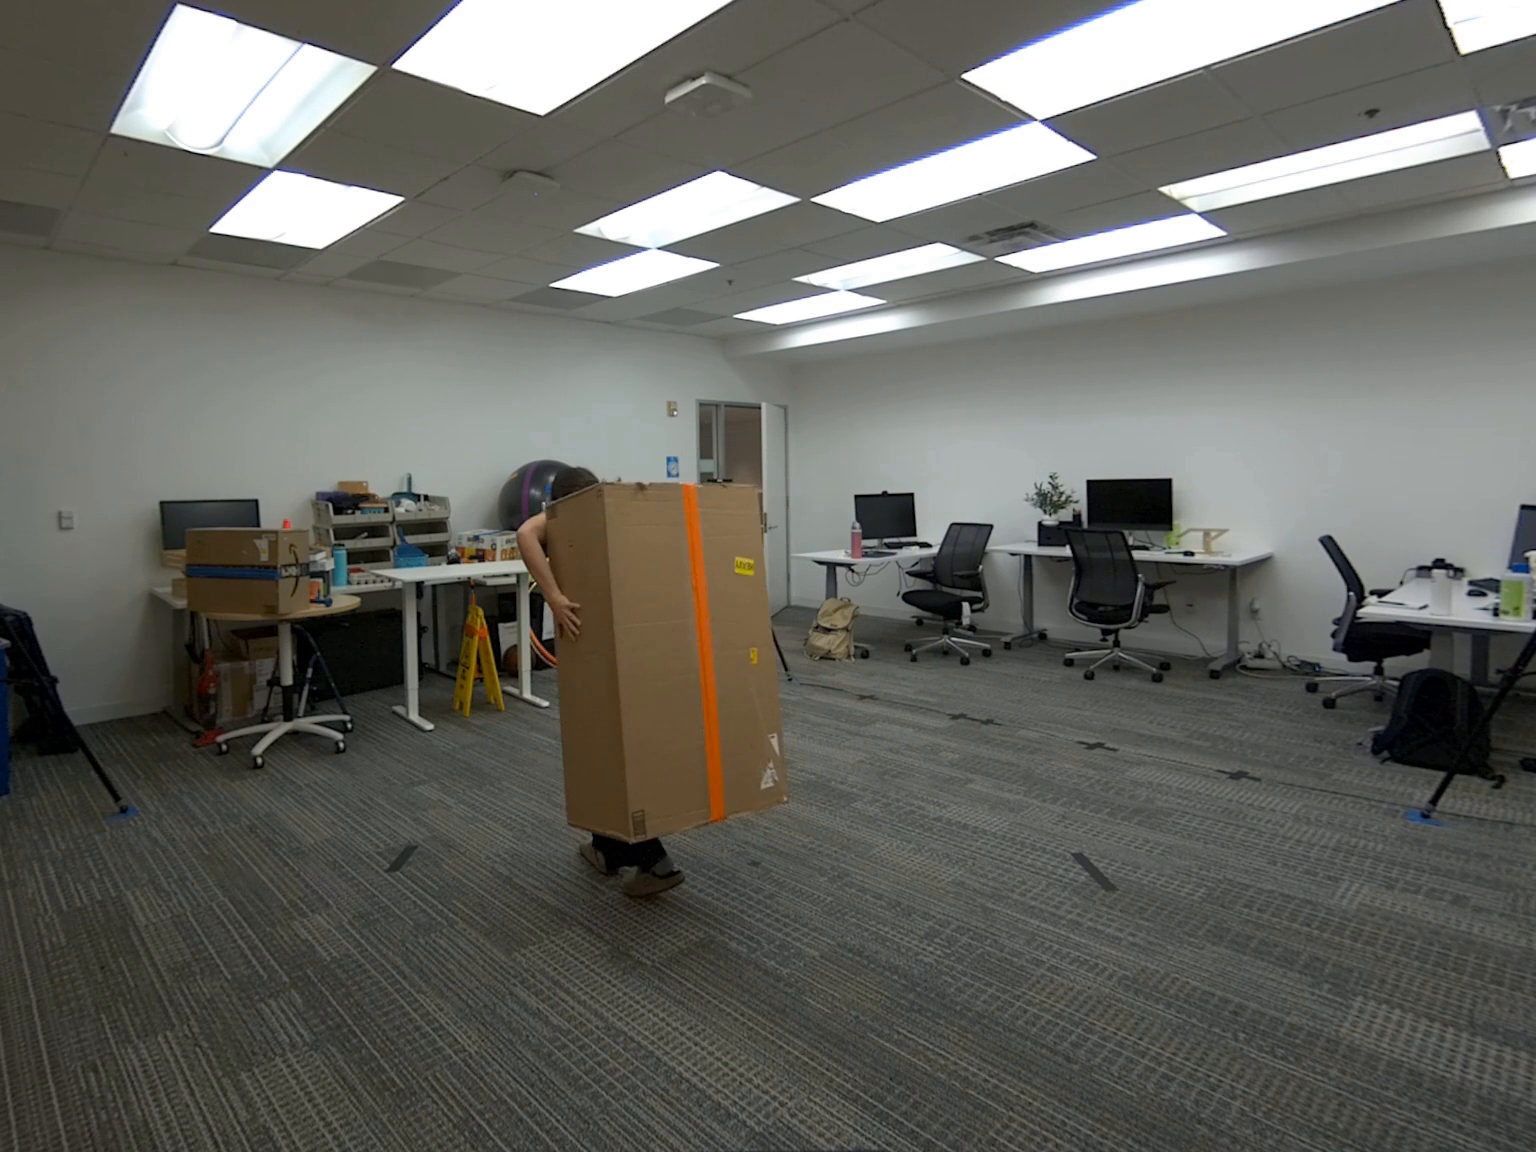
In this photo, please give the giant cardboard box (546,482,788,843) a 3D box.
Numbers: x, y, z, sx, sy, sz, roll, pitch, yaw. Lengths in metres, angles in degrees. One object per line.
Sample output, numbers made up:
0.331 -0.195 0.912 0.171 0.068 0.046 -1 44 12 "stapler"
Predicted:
-0.326 0.250 2.739 0.562 1.032 0.435 -1 -7 -37 "giant cardboard box"
